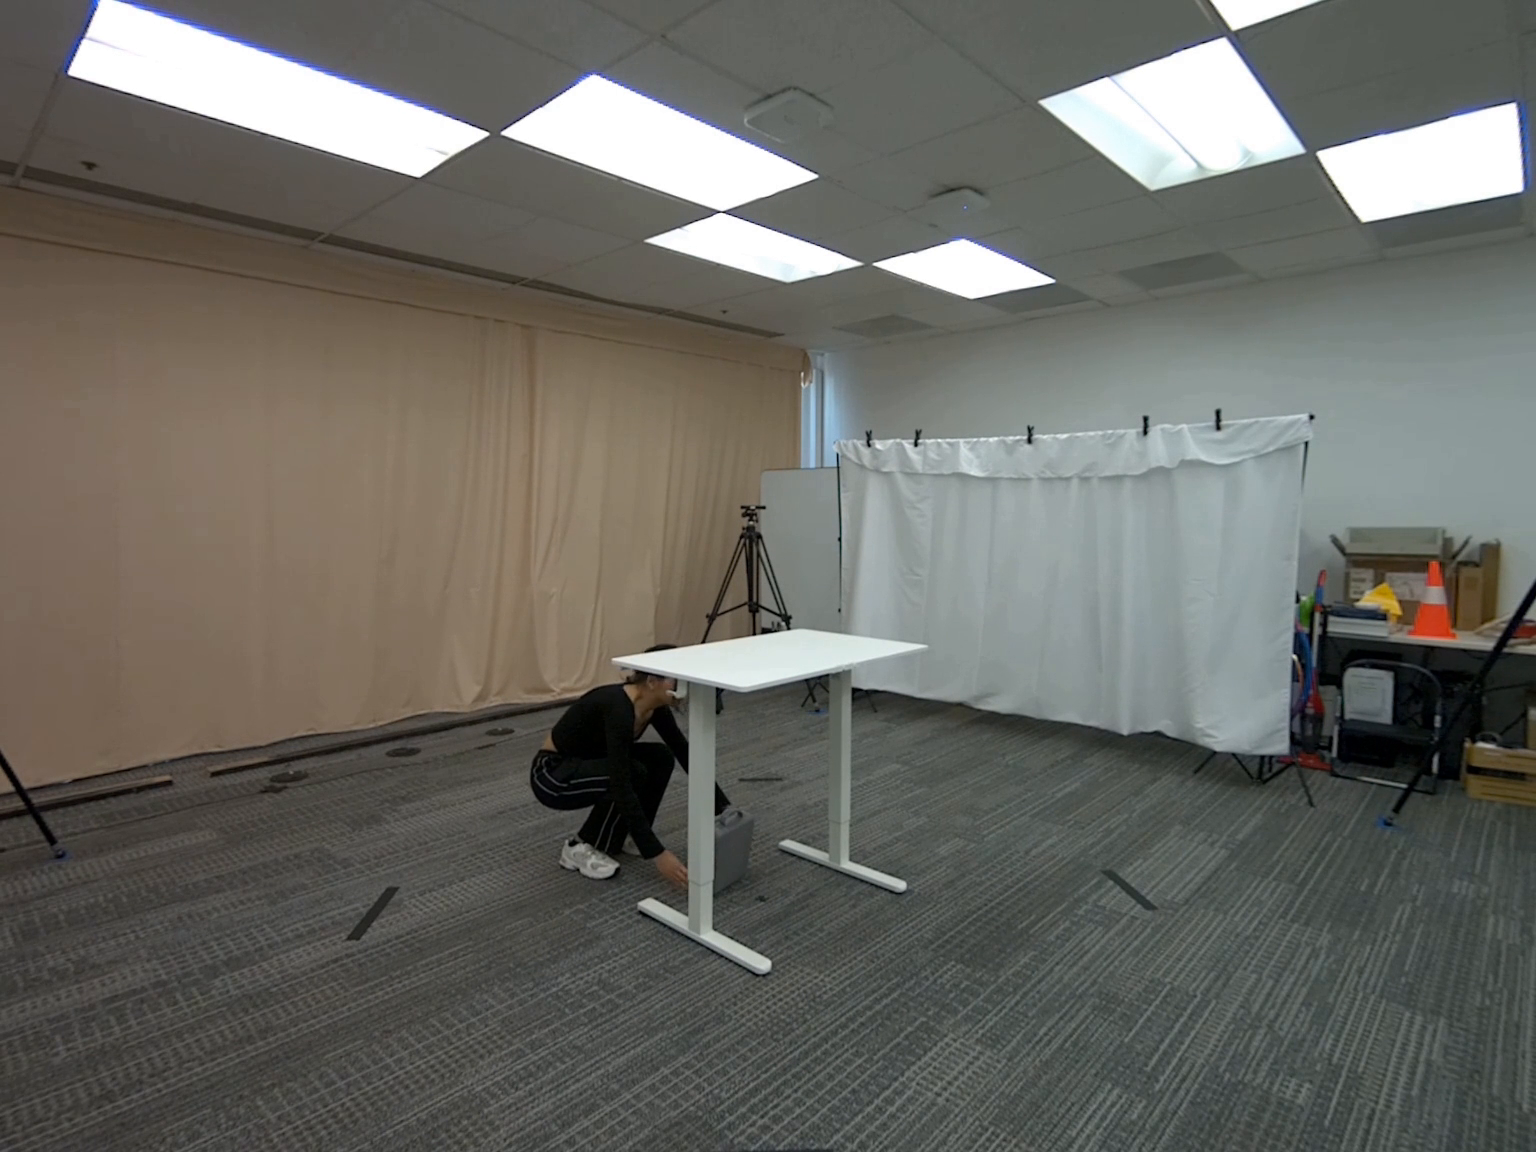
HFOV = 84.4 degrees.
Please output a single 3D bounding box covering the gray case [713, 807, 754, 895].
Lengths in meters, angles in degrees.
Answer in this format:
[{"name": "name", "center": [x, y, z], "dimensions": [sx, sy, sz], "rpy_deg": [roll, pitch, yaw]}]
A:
[{"name": "gray case", "center": [-0.154, 1.008, 3.074], "dimensions": [0.108, 0.259, 0.249], "rpy_deg": [19, 13, 33]}]
